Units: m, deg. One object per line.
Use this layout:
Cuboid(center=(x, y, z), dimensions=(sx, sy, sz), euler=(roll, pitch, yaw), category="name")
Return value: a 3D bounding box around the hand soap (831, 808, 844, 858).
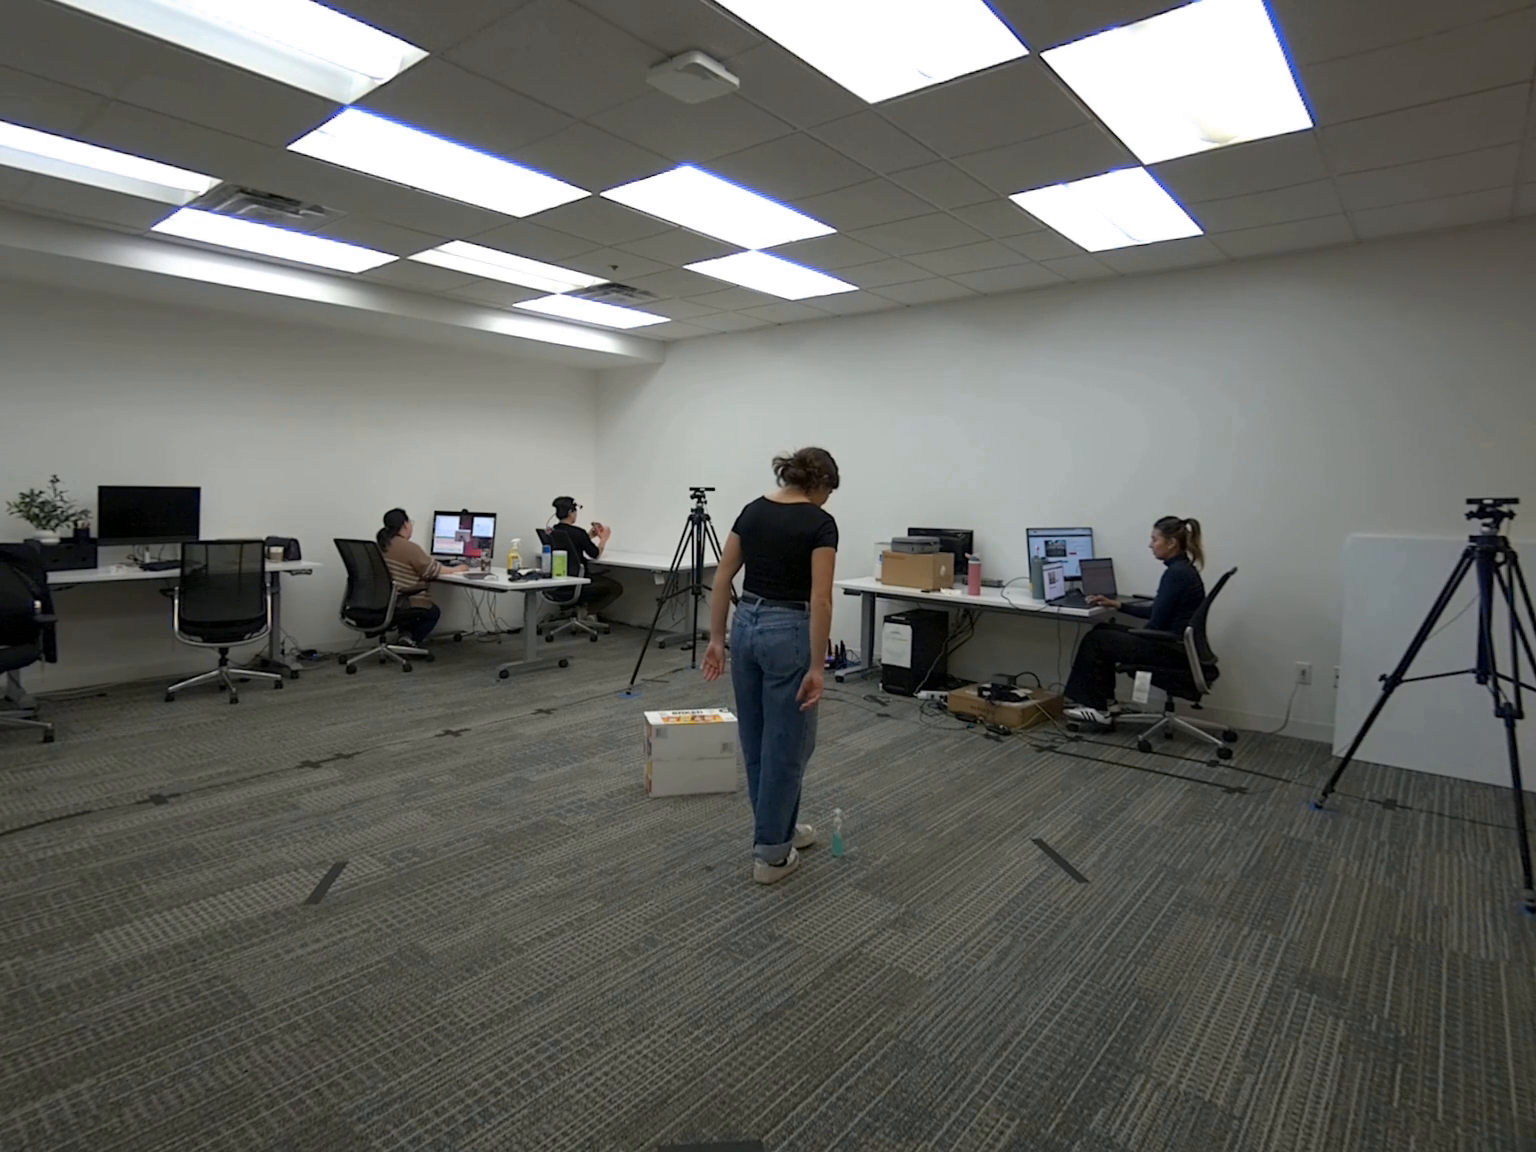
Cuboid(center=(0.260, 0.981, 3.263), dimensions=(0.043, 0.169, 0.084), euler=(-3, -2, 0), category="hand soap")
